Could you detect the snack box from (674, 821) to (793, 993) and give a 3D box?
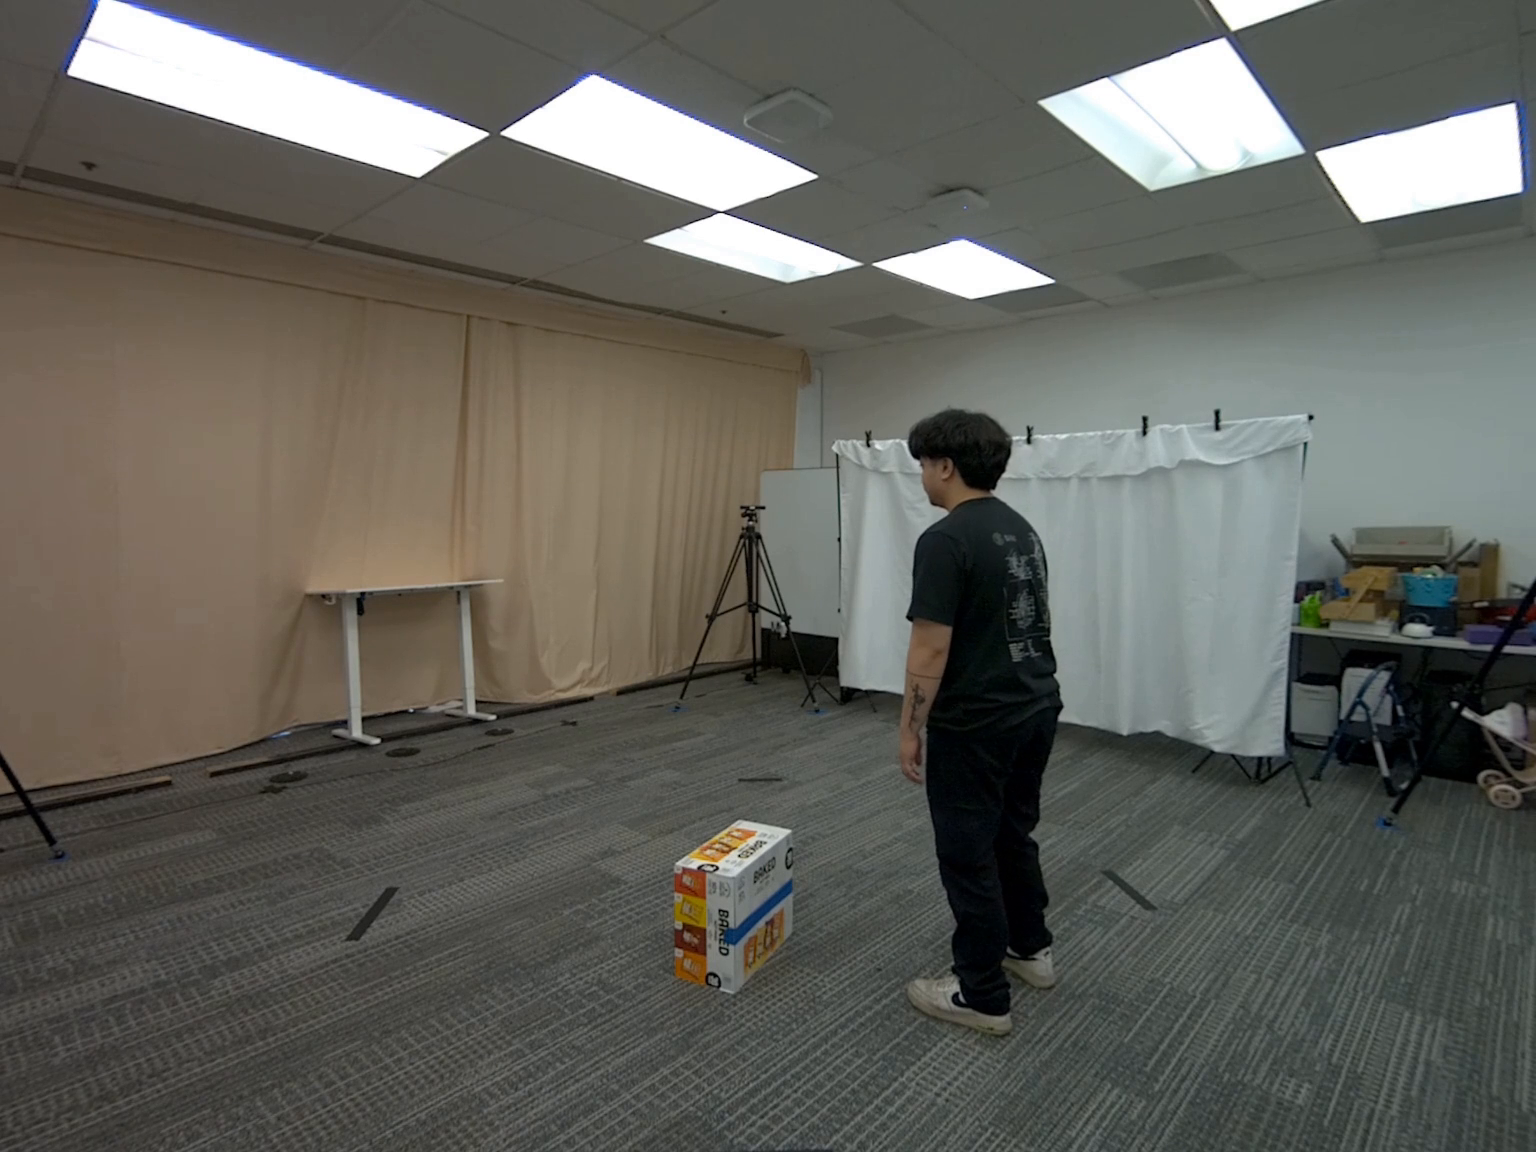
[{"bbox_3d":[-0.096,1.004,2.613,0.211,0.340,0.395,1,3,27],"label":"snack box"}]
